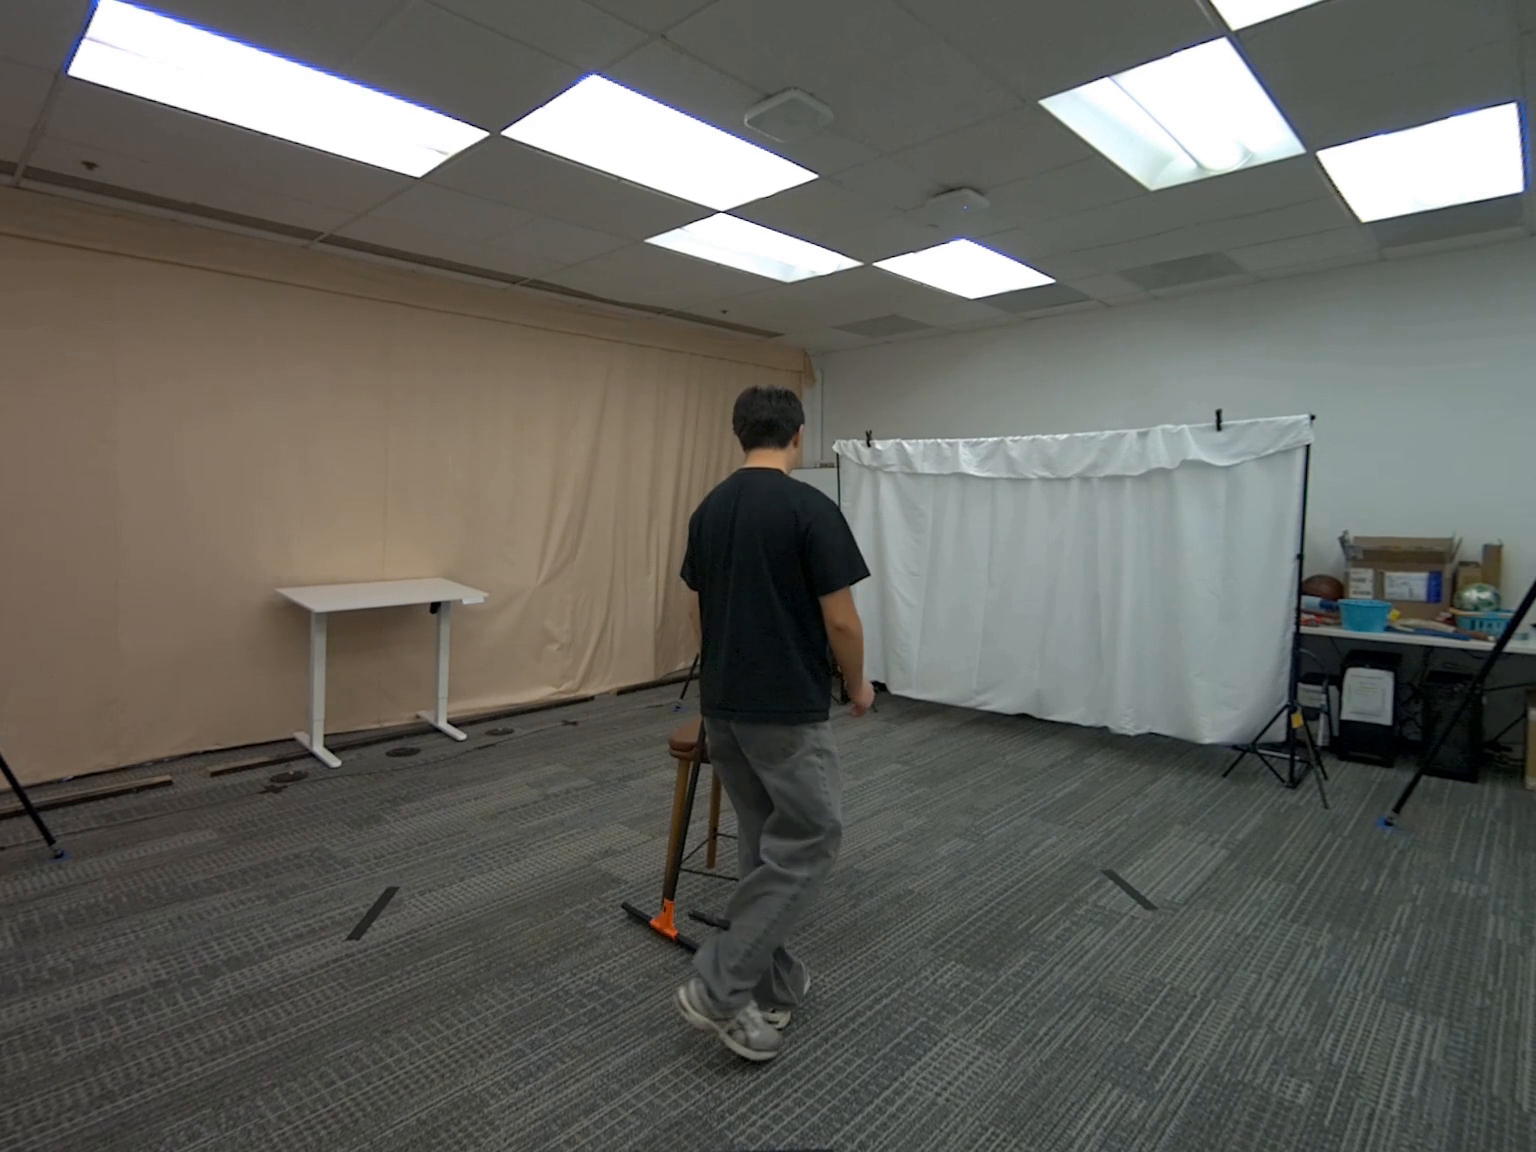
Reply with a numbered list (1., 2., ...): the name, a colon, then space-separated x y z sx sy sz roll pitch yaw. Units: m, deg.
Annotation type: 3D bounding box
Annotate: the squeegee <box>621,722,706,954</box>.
1. squeegee: -0.208 0.406 2.791 0.051 1.541 0.451 14 -7 -37
